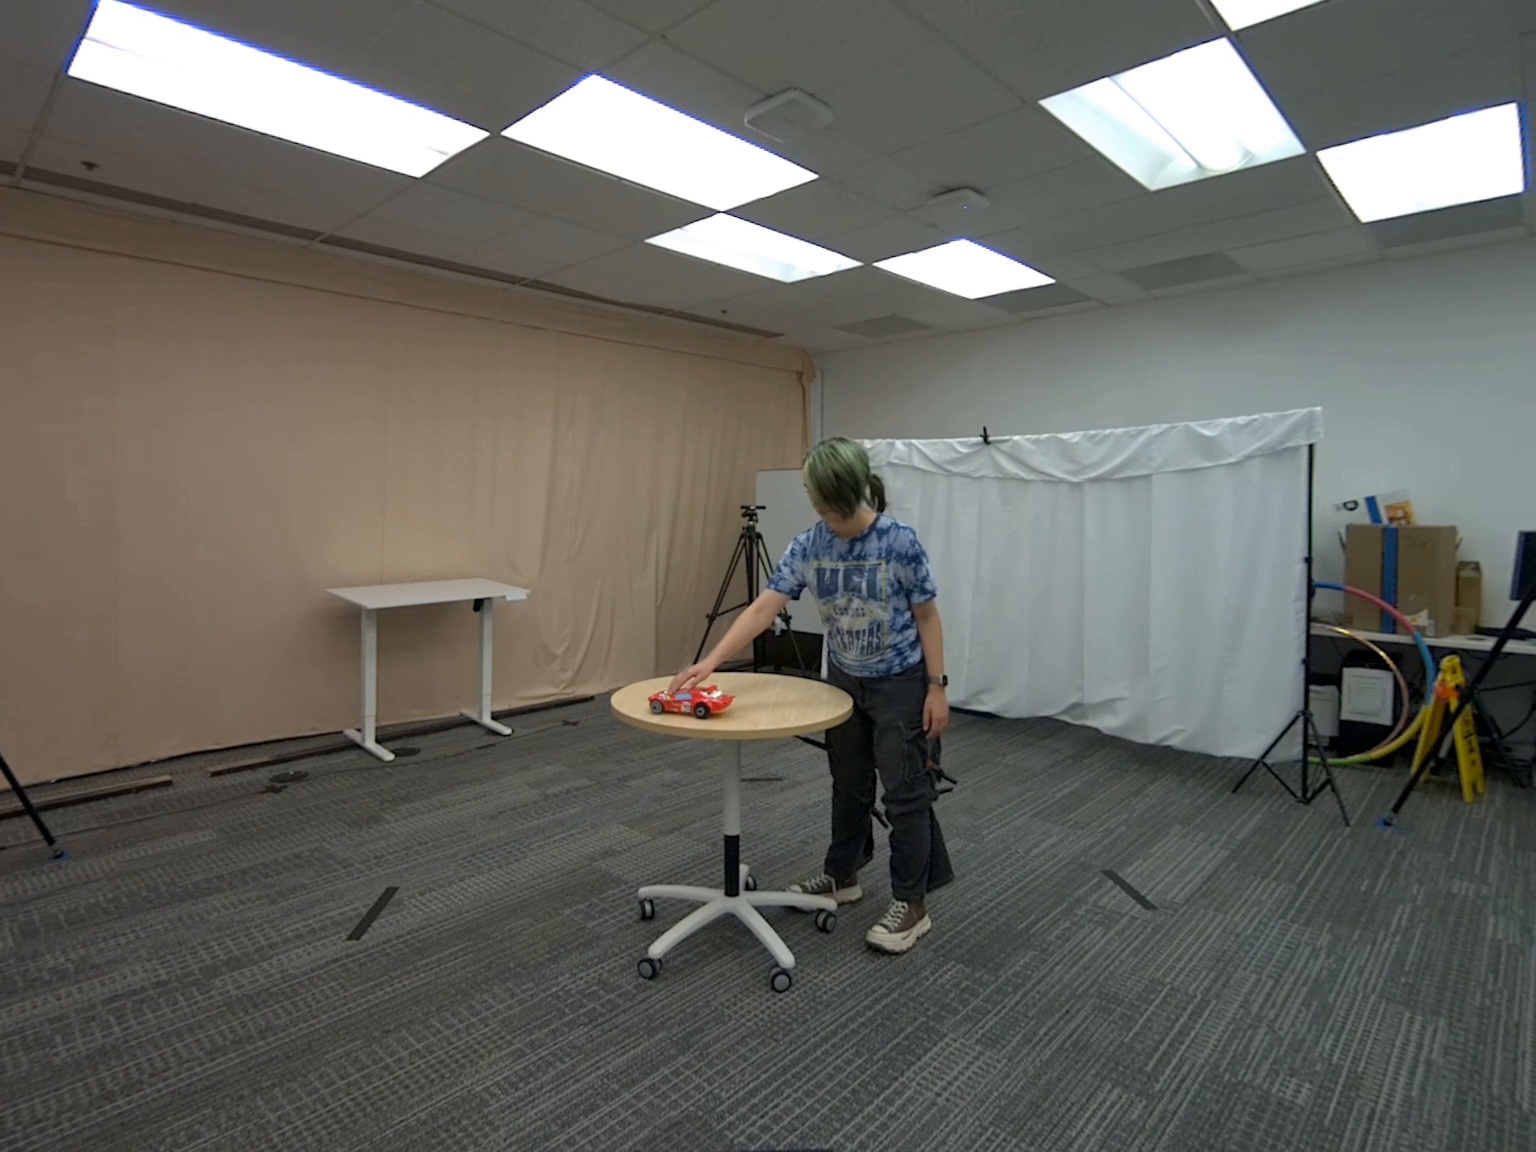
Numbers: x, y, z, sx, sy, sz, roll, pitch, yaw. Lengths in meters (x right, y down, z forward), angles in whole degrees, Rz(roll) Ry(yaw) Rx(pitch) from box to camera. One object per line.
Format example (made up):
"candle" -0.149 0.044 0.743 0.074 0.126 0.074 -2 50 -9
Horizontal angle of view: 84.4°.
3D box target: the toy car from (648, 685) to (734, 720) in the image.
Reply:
"toy car" -0.209 0.375 2.469 0.259 0.083 0.128 -11 0 19
